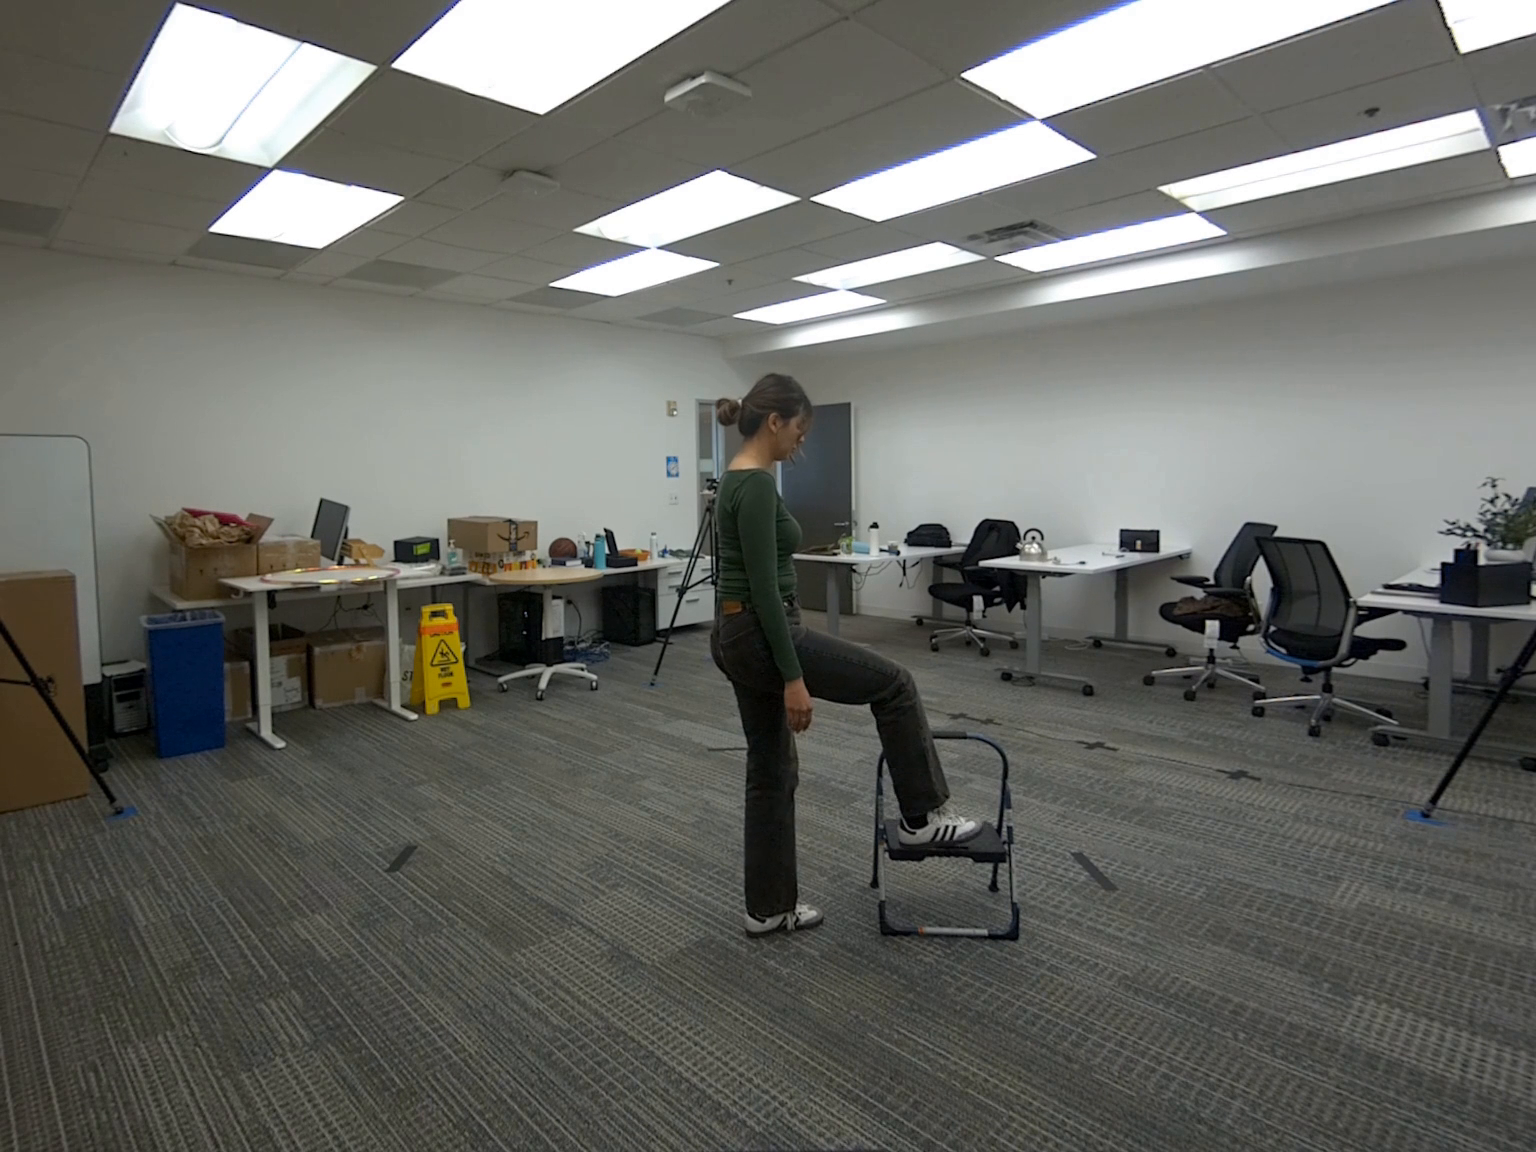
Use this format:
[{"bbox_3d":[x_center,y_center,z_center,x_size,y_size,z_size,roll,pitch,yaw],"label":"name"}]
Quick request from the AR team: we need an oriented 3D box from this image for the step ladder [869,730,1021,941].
[{"bbox_3d":[0.555,0.775,2.731,0.433,0.604,0.349,-1,3,4],"label":"step ladder"}]
